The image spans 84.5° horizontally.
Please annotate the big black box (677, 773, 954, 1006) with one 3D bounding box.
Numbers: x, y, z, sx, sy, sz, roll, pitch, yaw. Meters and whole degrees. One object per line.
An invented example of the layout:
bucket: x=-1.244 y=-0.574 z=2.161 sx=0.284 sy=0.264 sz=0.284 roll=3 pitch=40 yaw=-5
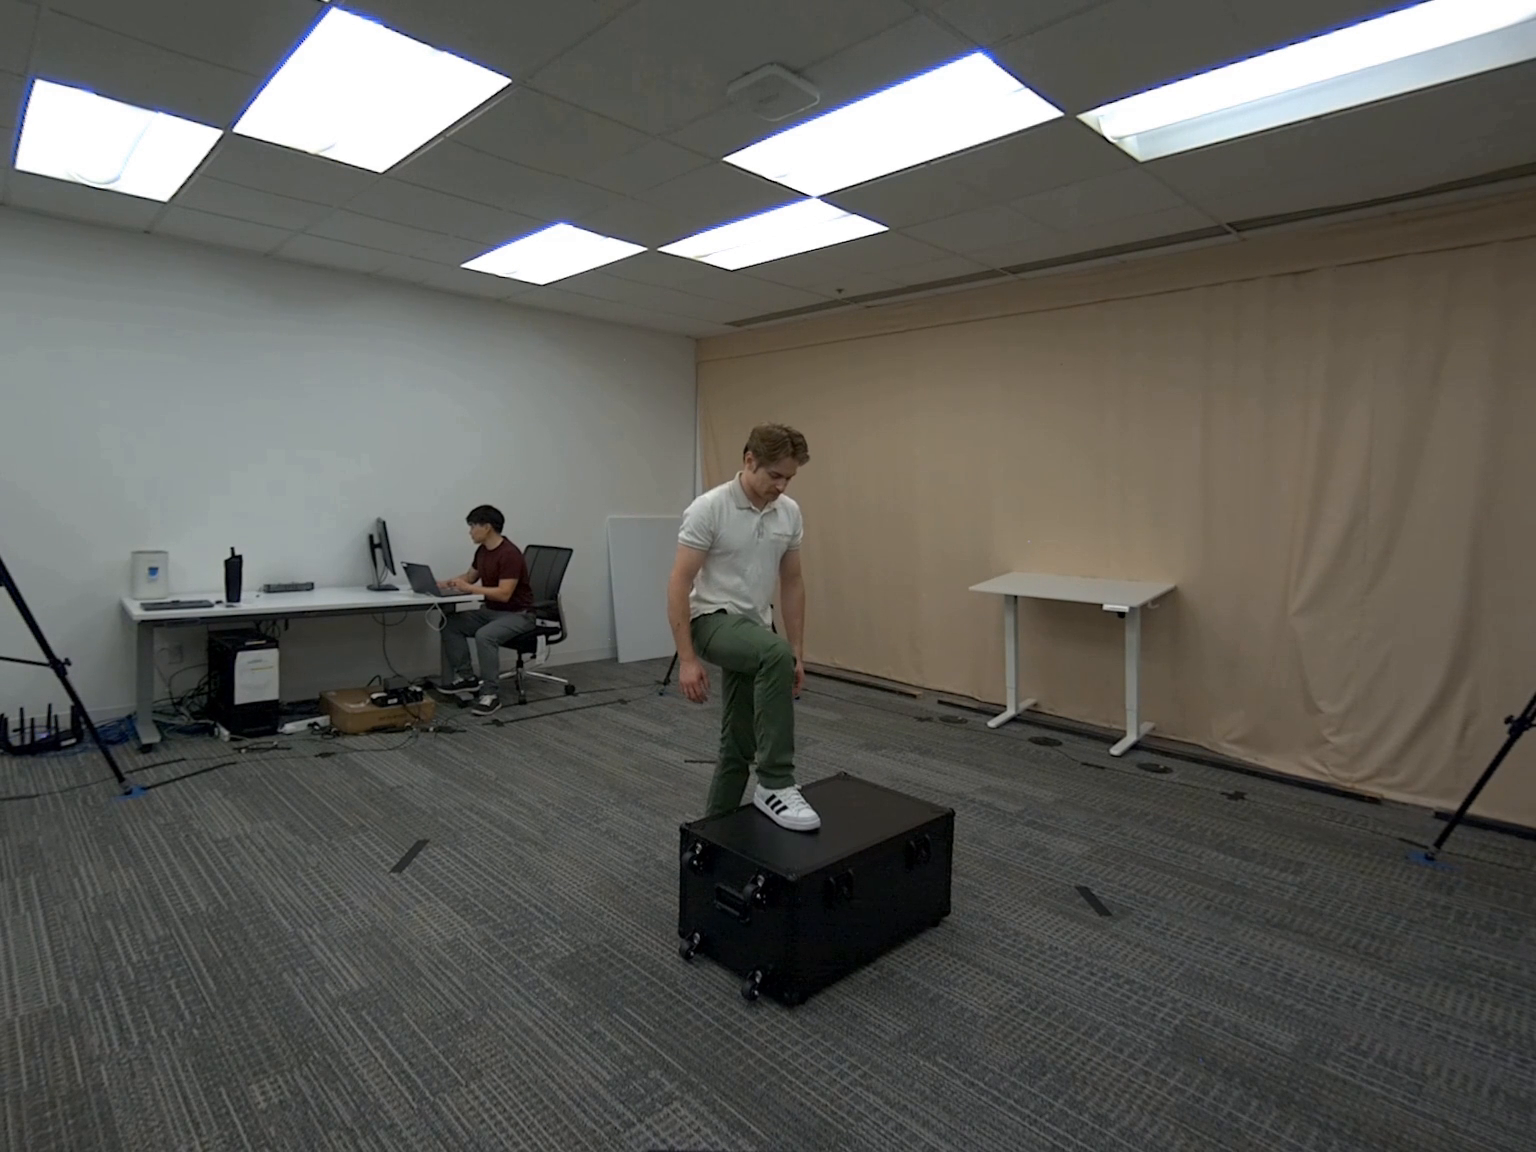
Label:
big black box: x=0.132 y=0.955 z=2.679 sx=0.849 sy=0.384 sz=0.537 roll=-4 pitch=8 yaw=-44
